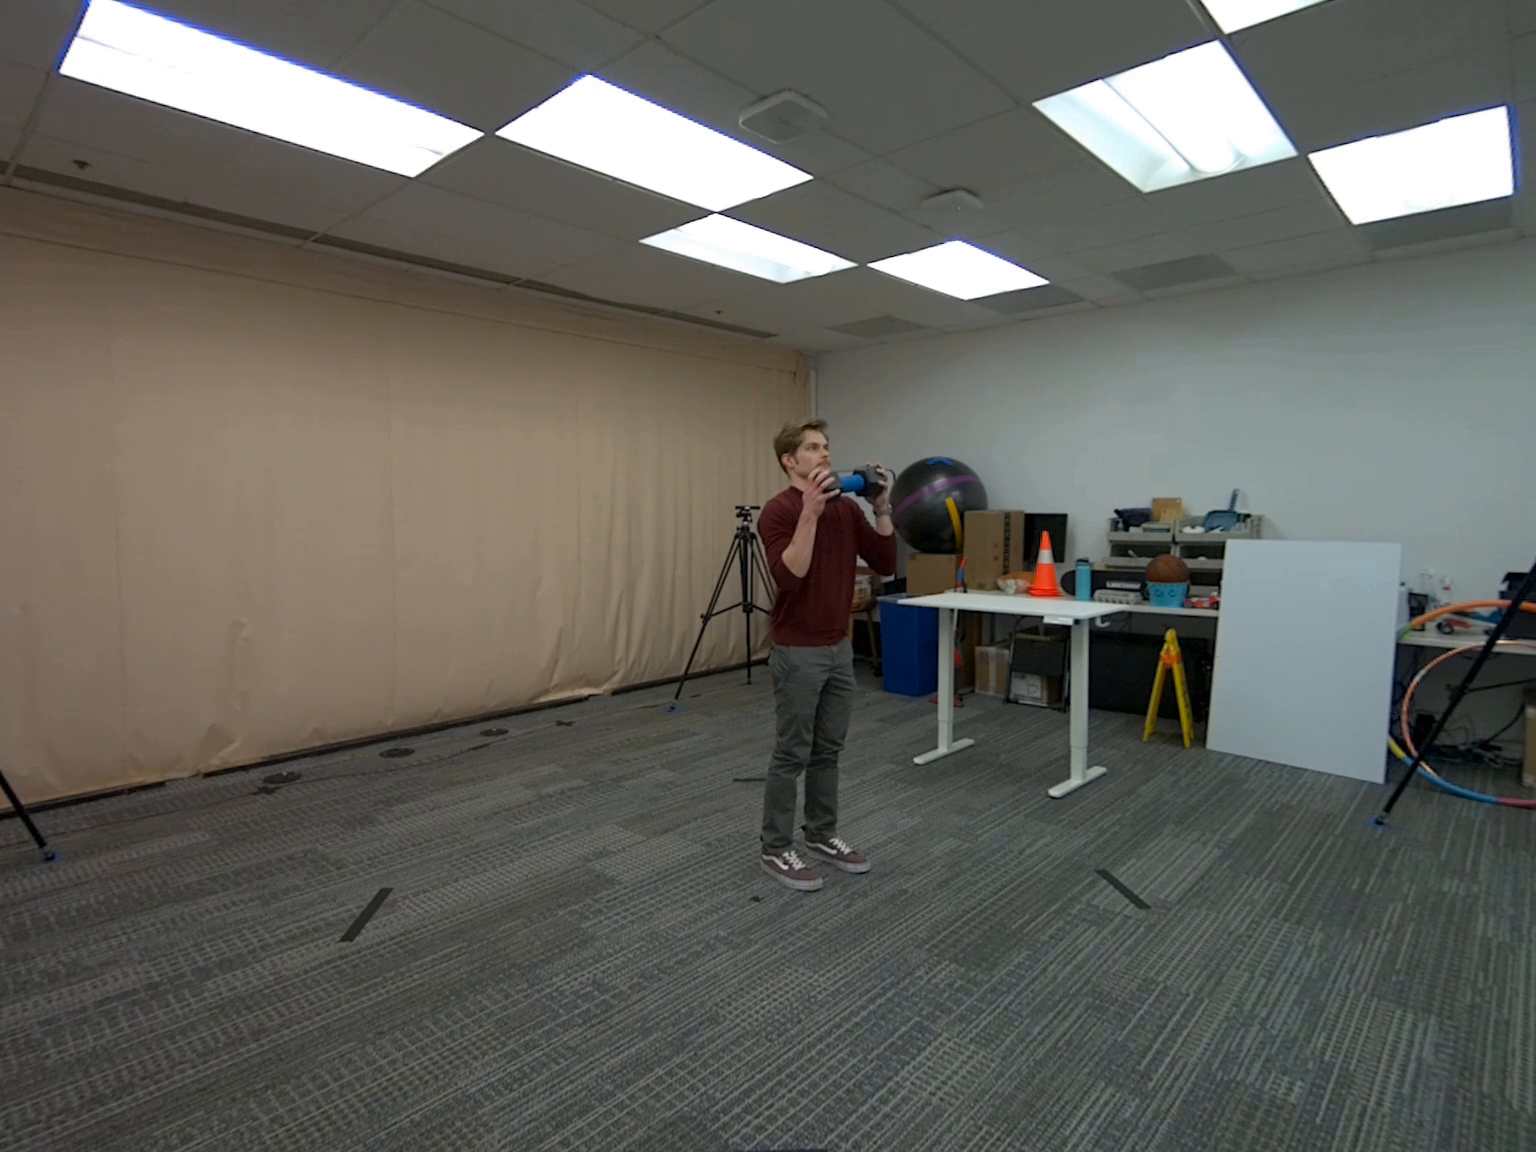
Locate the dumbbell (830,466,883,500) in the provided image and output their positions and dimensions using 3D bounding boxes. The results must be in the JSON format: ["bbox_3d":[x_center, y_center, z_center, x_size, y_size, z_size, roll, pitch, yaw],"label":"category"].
[{"bbox_3d":[0.281,-0.329,3.007,0.286,0.122,0.112,-11,43,-33],"label":"dumbbell"}]
